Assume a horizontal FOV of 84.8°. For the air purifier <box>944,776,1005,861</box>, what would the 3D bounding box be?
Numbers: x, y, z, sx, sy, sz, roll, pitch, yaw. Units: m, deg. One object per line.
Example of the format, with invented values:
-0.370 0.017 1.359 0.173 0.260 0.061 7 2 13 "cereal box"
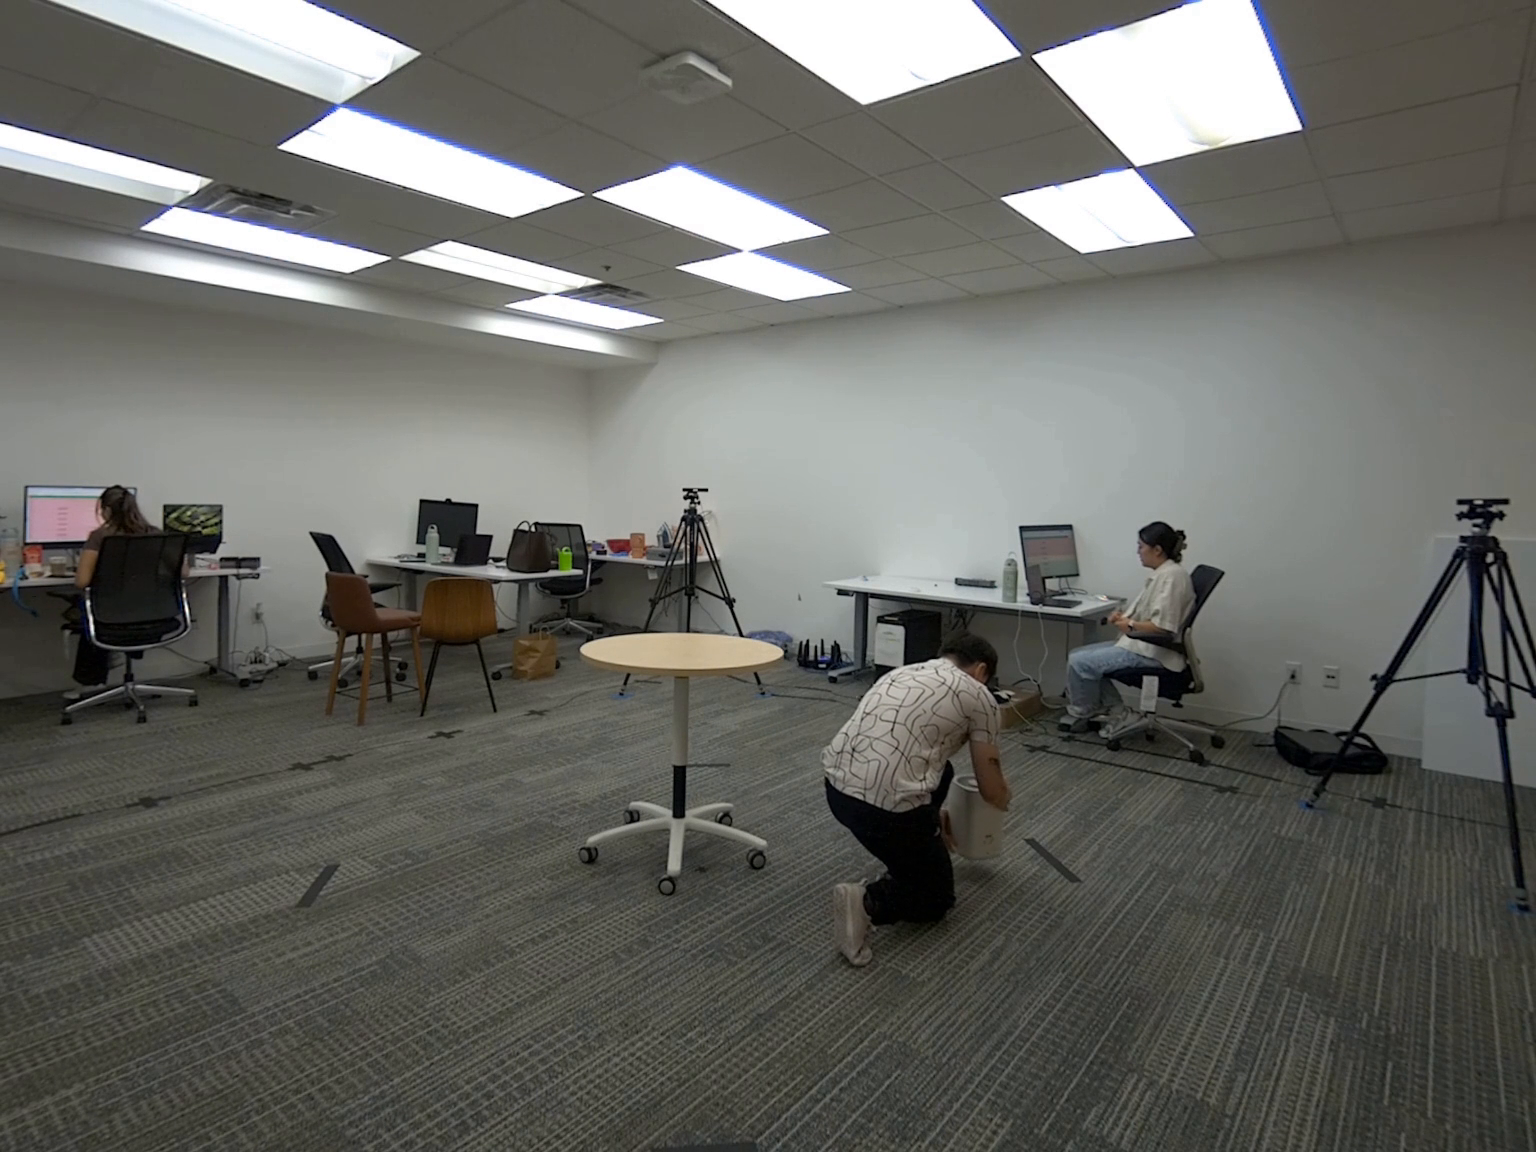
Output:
0.768 0.889 3.143 0.168 0.264 0.175 -1 5 -17 "air purifier"
